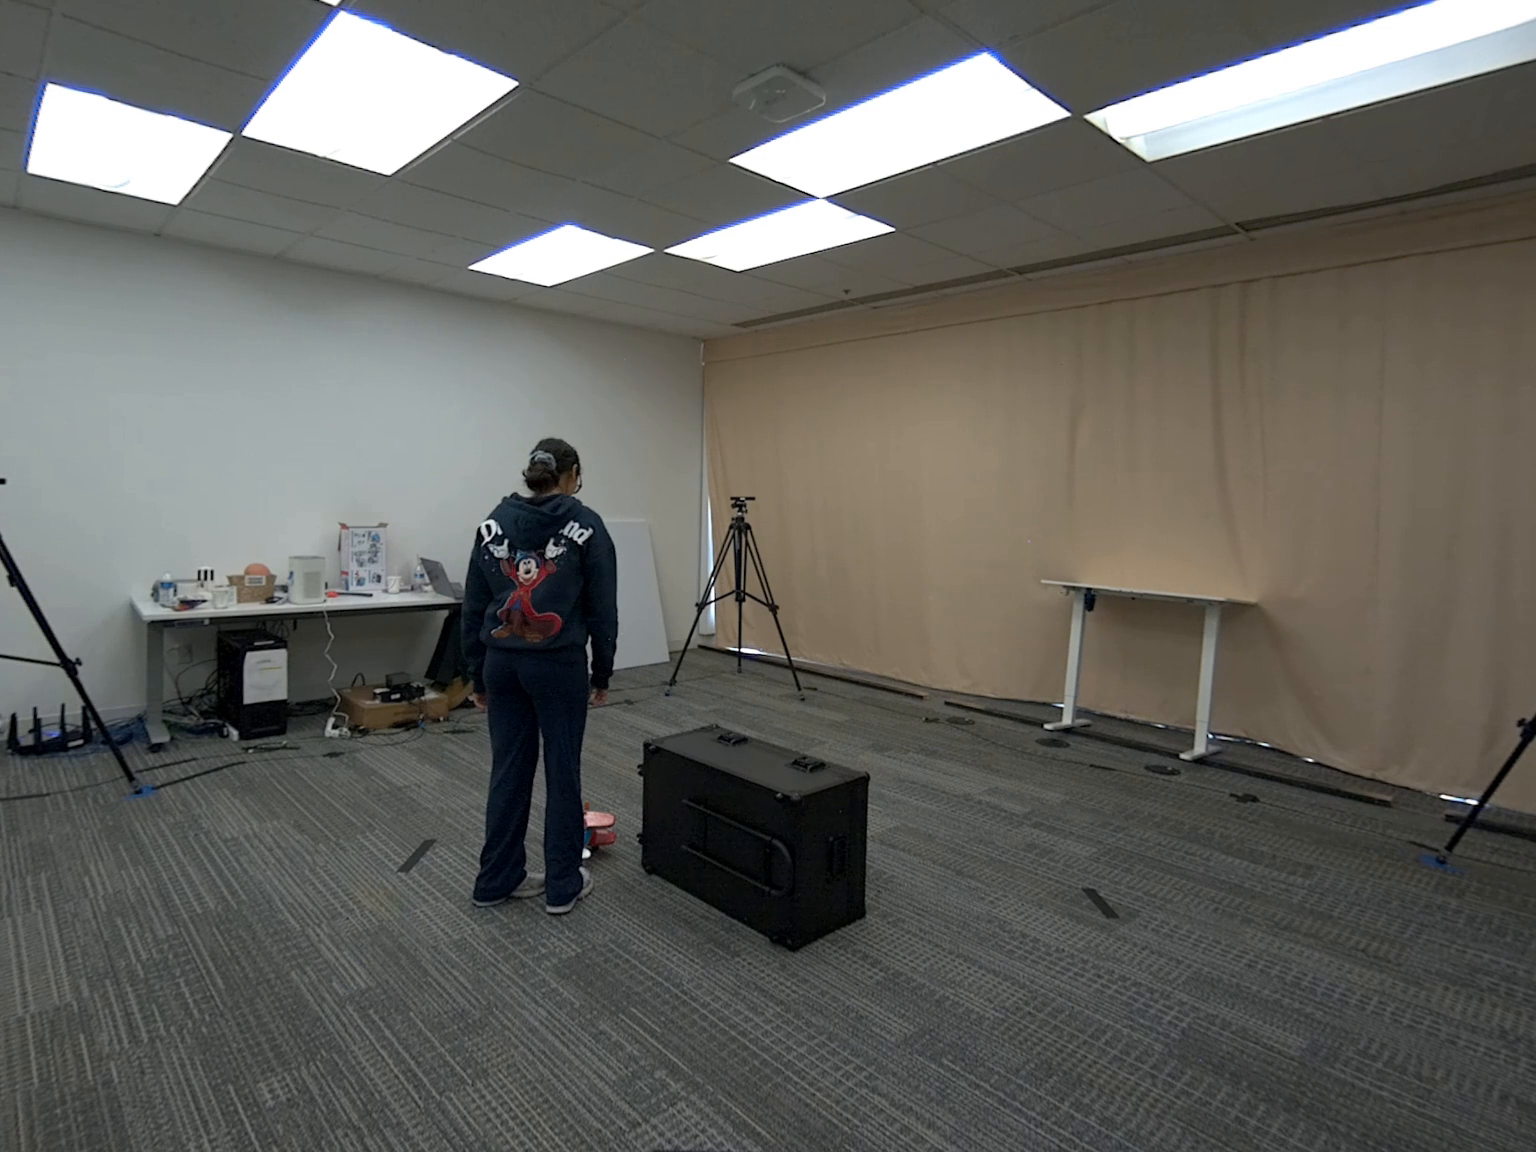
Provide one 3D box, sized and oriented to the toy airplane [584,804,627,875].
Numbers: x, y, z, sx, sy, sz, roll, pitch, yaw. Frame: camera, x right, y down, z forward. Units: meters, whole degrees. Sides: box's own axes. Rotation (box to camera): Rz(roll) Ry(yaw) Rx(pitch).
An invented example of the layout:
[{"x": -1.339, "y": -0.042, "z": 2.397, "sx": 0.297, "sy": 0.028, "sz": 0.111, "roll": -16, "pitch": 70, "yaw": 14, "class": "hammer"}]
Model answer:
[{"x": -0.704, "y": 1.008, "z": 3.241, "sx": 0.246, "sy": 0.156, "sz": 0.264, "roll": 0, "pitch": 5, "yaw": -25, "class": "toy airplane"}]
